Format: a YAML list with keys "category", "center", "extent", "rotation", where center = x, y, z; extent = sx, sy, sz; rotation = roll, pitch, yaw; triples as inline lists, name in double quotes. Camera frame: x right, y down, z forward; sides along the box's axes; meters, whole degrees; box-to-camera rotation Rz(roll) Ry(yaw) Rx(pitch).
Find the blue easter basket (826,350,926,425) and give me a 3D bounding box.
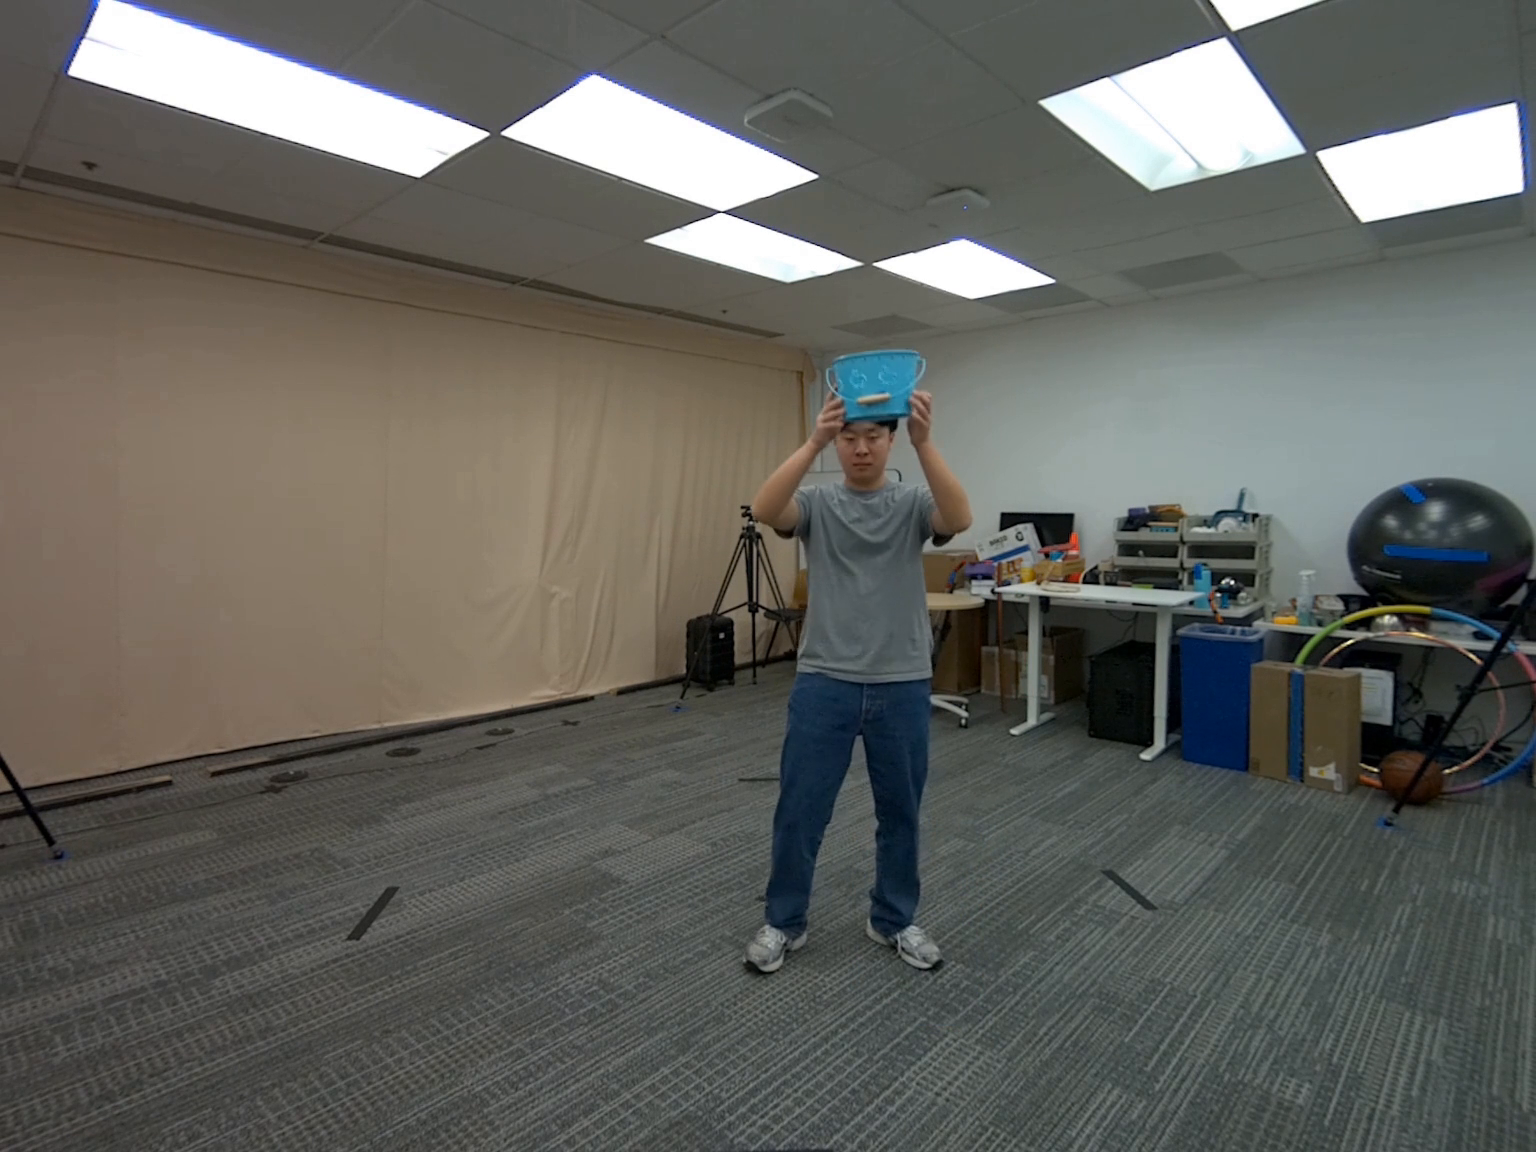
- category: "blue easter basket"
  center: [0.287, -0.474, 2.203]
  extent: [0.243, 0.155, 0.244]
  rotation: [-2, 4, -2]
